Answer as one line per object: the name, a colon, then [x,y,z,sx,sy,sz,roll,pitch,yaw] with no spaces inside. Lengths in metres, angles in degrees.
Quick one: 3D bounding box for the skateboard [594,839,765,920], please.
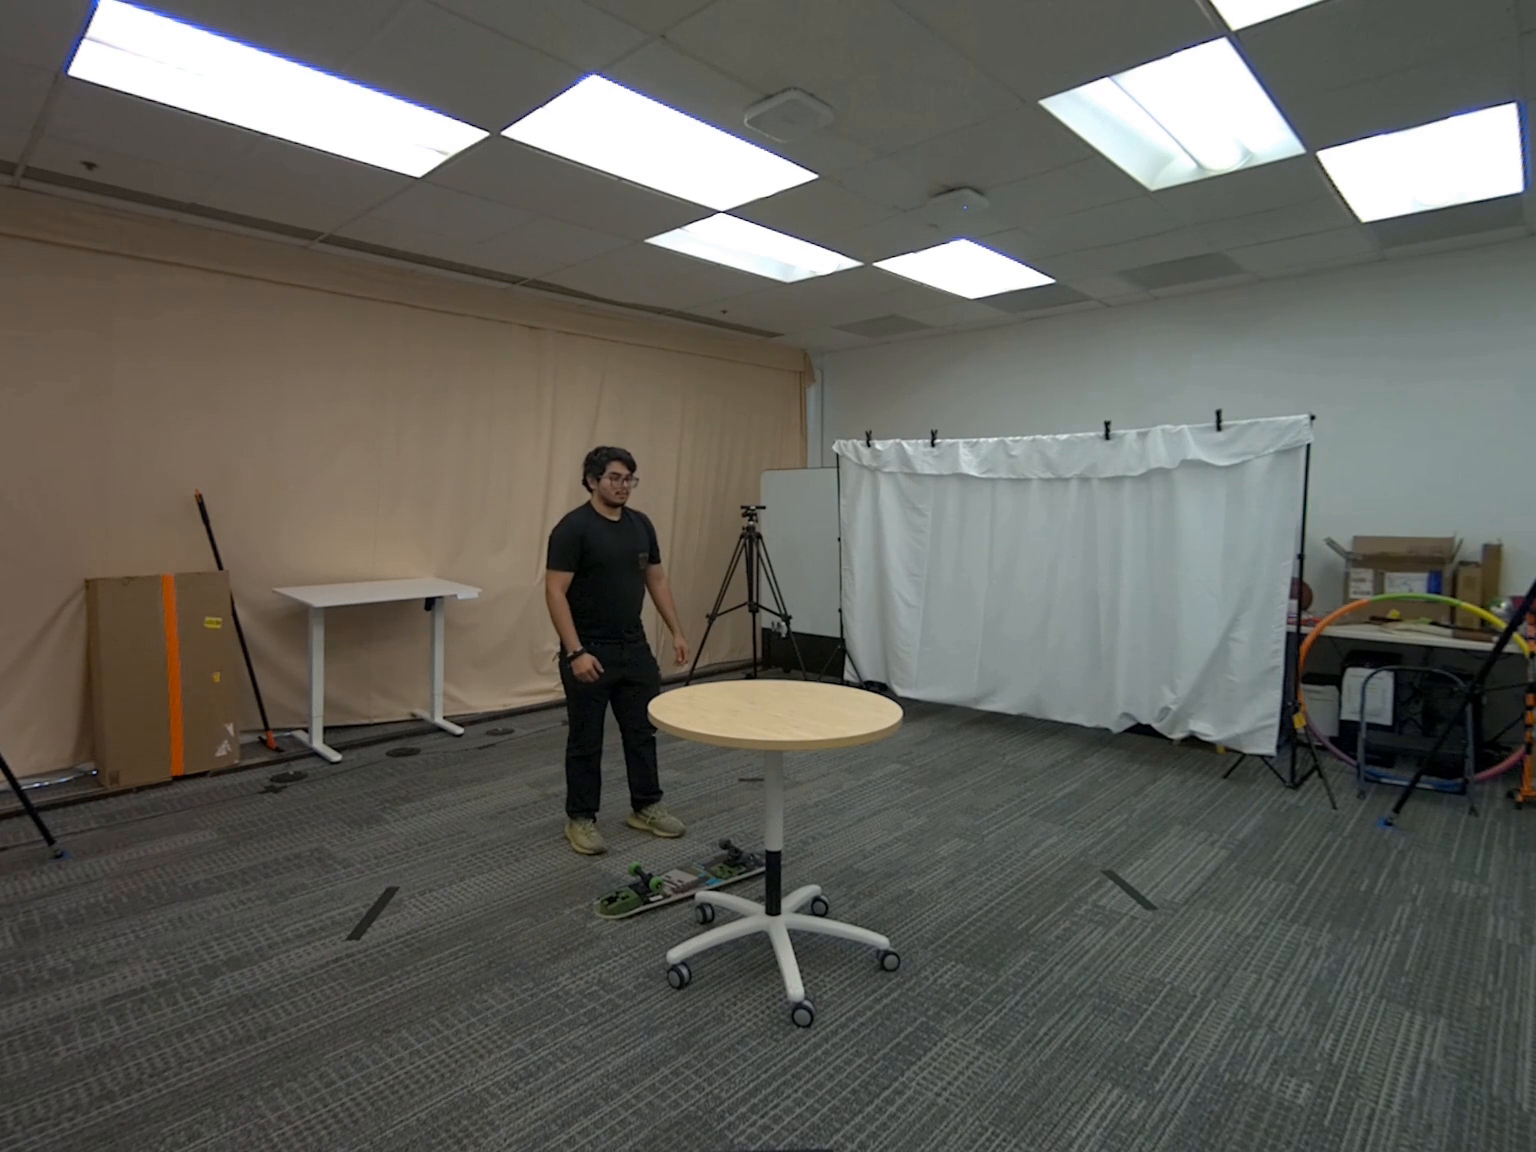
skateboard: [-0.278,1.086,3.090,0.762,0.110,0.199,-4,5,-36]
